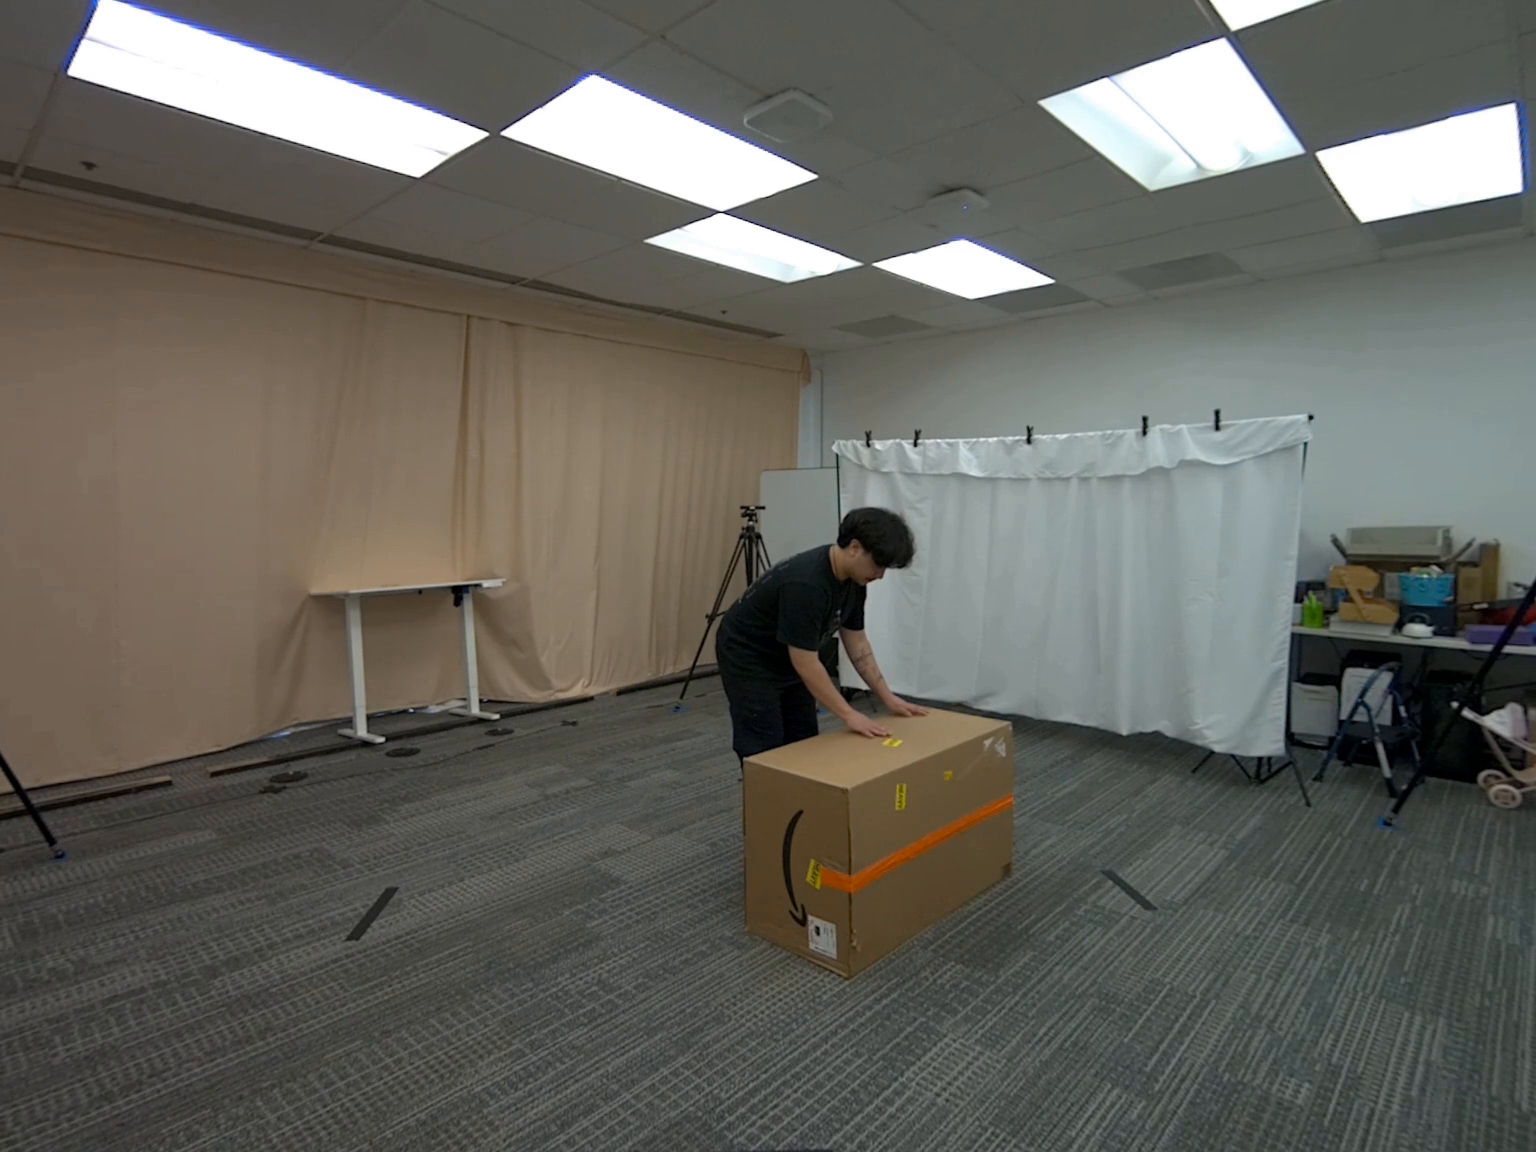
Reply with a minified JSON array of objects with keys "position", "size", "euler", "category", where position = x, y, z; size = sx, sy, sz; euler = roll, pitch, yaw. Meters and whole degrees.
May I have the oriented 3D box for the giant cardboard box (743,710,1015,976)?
[{"position":[0.428,0.862,2.953],"size":[0.462,0.582,0.996],"euler":[5,7,43],"category":"giant cardboard box"}]
